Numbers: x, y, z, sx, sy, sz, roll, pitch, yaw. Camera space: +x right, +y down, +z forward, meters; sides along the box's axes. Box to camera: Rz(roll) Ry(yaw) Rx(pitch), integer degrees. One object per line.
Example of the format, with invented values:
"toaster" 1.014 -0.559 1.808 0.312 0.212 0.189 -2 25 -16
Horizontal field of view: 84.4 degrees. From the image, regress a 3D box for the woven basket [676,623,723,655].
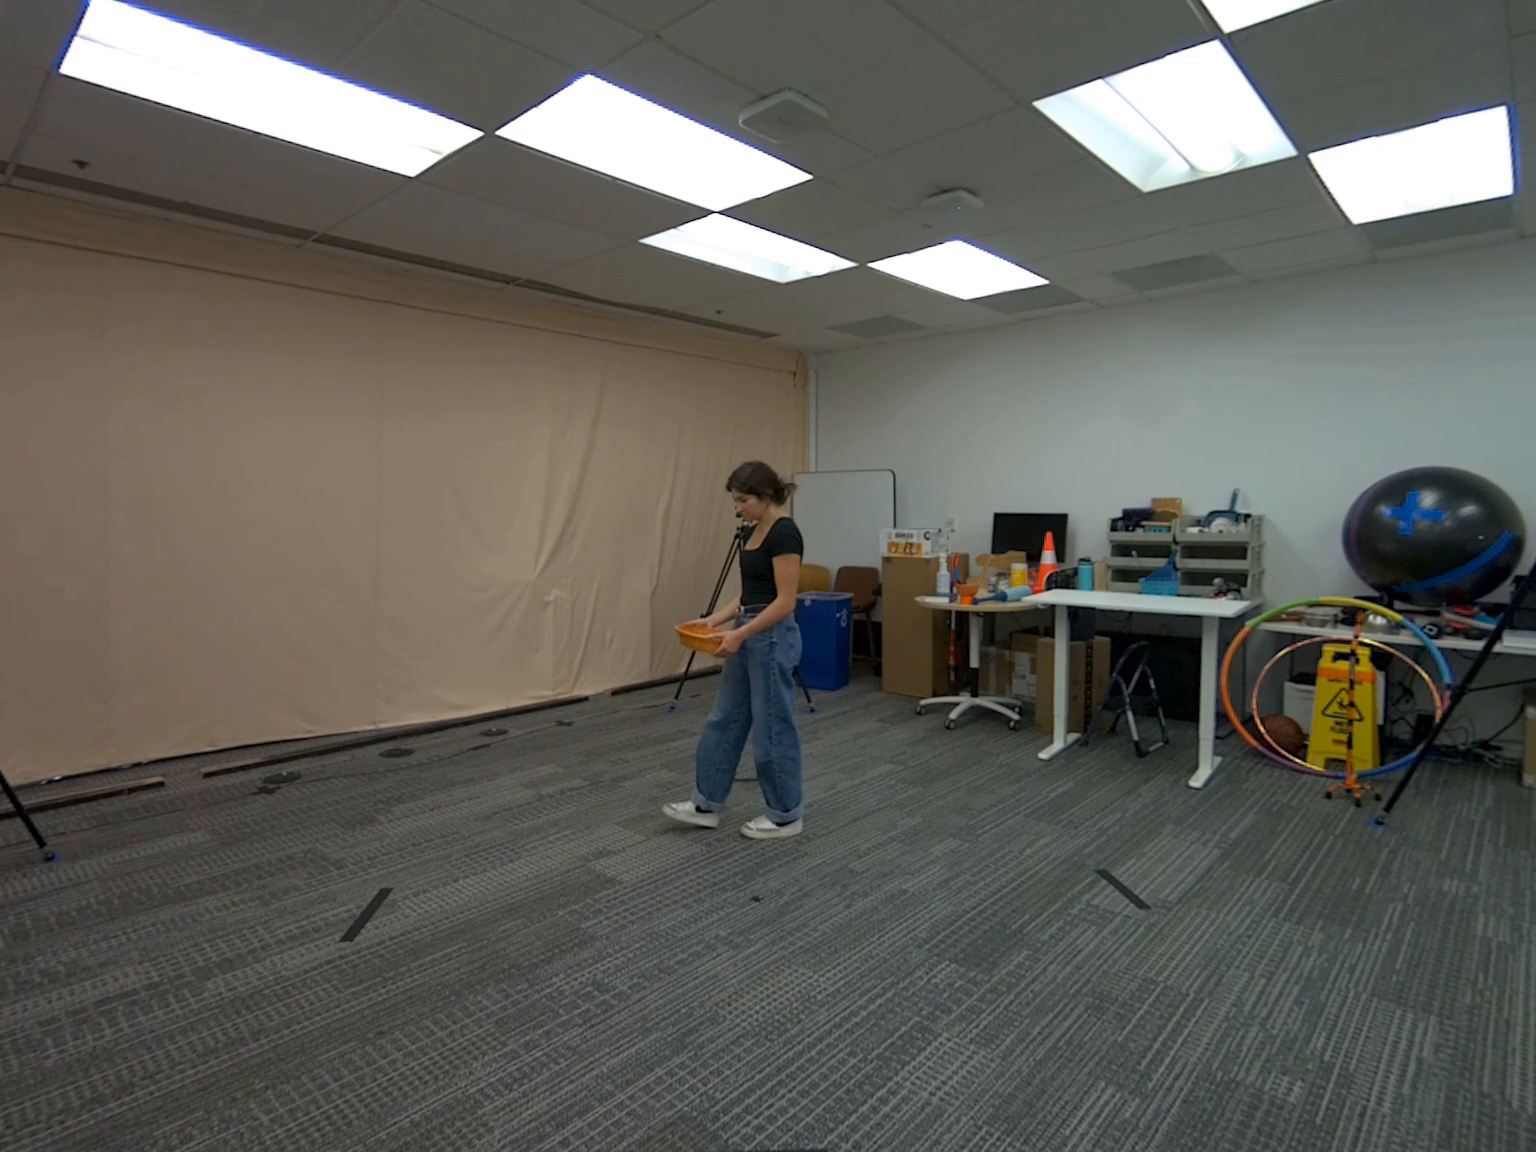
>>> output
"woven basket" -0.230 0.266 3.464 0.246 0.073 0.360 5 2 -28
